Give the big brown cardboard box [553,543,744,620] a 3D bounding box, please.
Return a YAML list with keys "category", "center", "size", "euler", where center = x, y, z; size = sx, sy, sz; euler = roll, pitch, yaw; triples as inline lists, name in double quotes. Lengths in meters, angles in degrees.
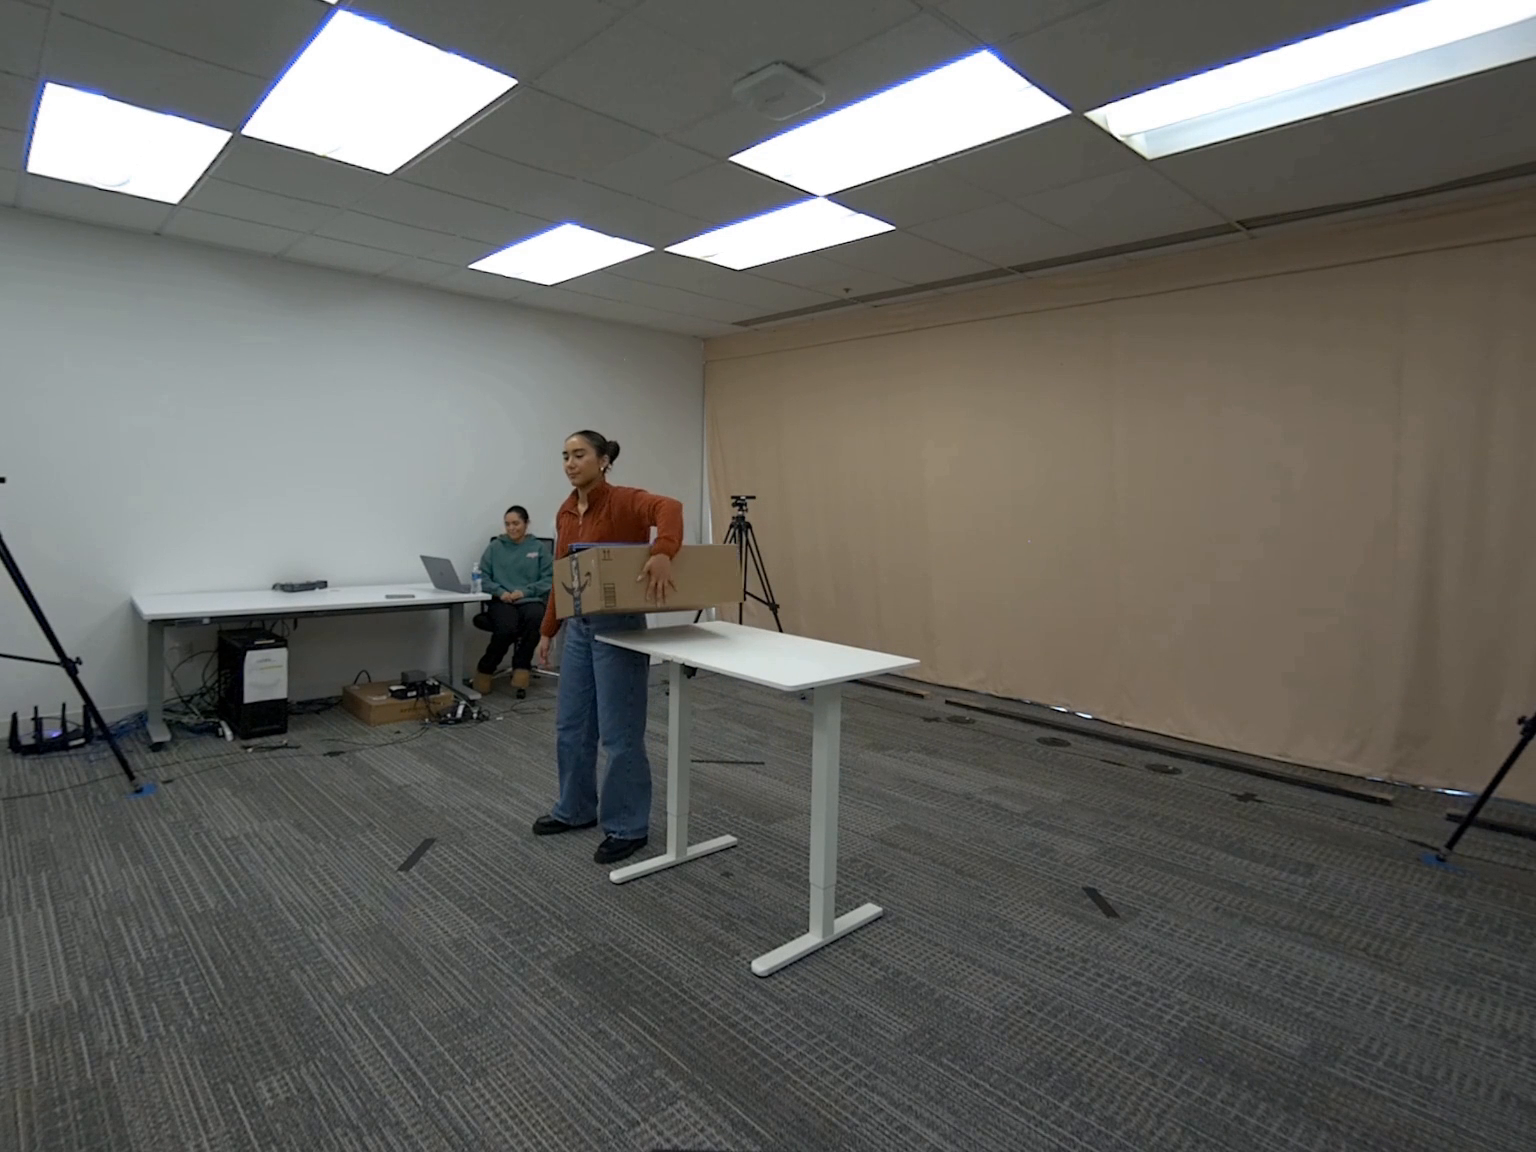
- category: "big brown cardboard box"
  center: [-0.455, 0.023, 3.087]
  size: [0.576, 0.234, 0.424]
  euler: [-1, -6, -35]
